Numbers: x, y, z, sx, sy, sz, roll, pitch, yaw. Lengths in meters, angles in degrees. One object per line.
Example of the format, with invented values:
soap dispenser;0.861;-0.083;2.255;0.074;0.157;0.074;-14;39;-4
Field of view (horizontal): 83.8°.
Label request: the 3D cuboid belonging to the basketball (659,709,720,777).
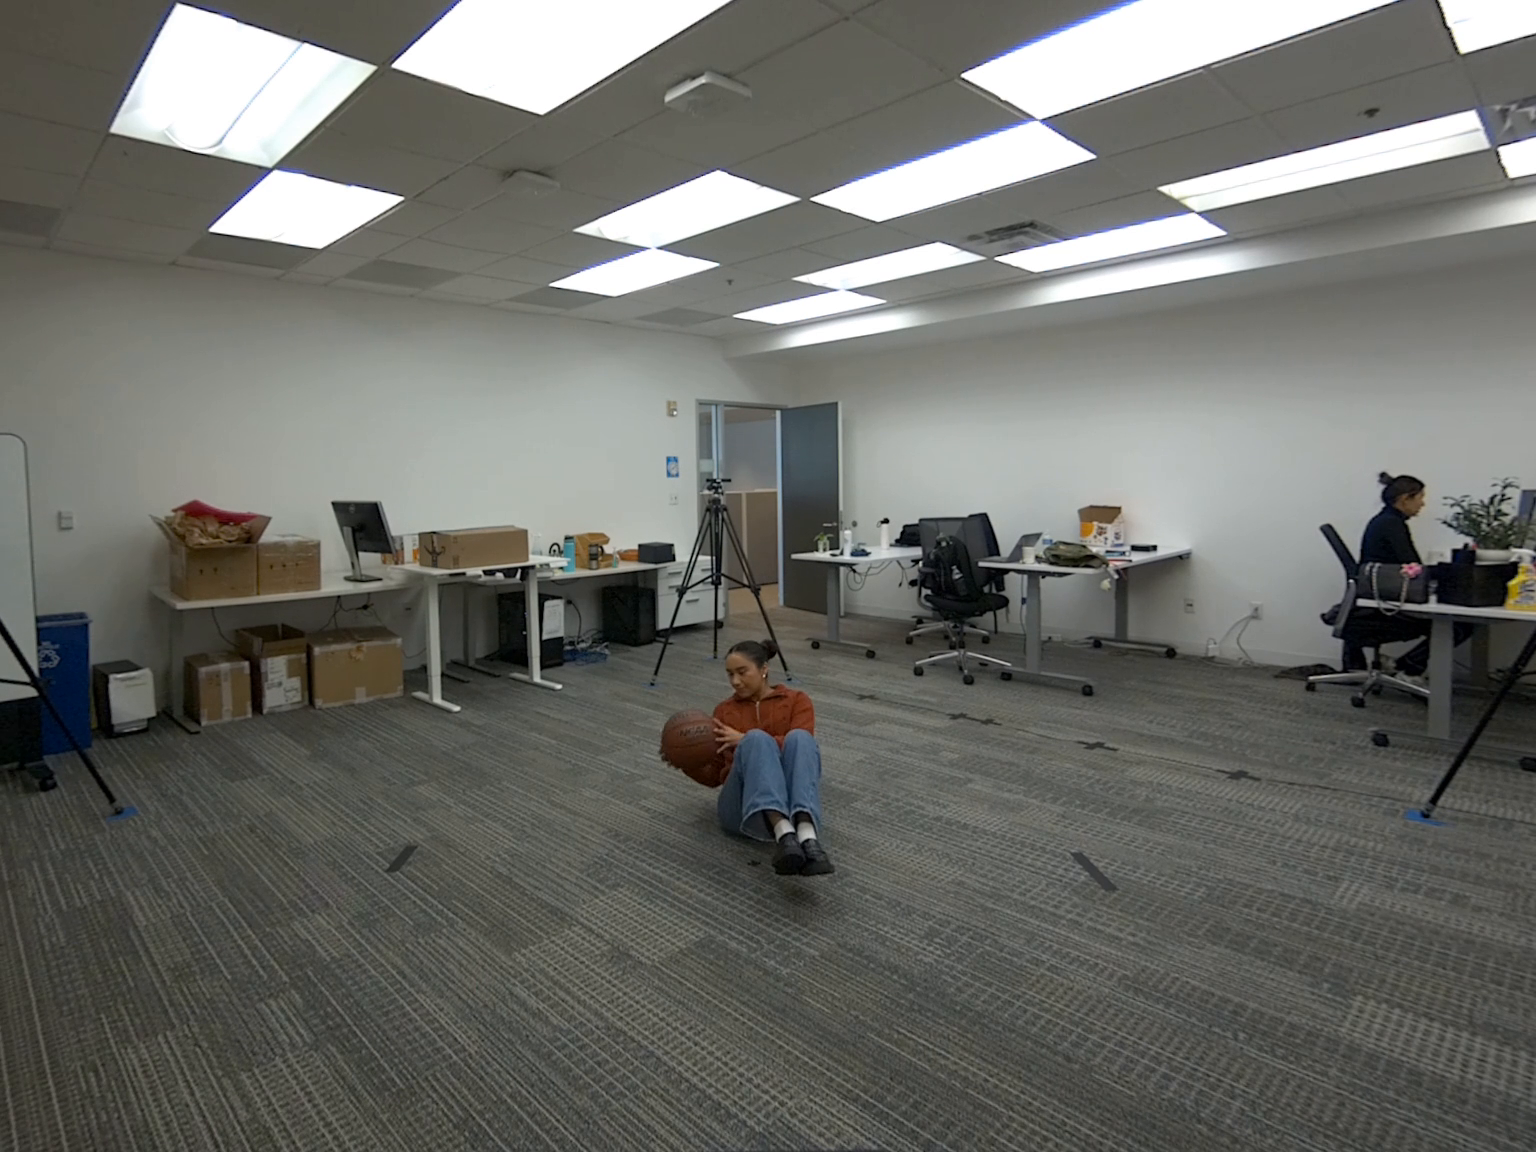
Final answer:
basketball;-0.293;0.639;3.380;0.236;0.235;0.237;-1;5;-2
